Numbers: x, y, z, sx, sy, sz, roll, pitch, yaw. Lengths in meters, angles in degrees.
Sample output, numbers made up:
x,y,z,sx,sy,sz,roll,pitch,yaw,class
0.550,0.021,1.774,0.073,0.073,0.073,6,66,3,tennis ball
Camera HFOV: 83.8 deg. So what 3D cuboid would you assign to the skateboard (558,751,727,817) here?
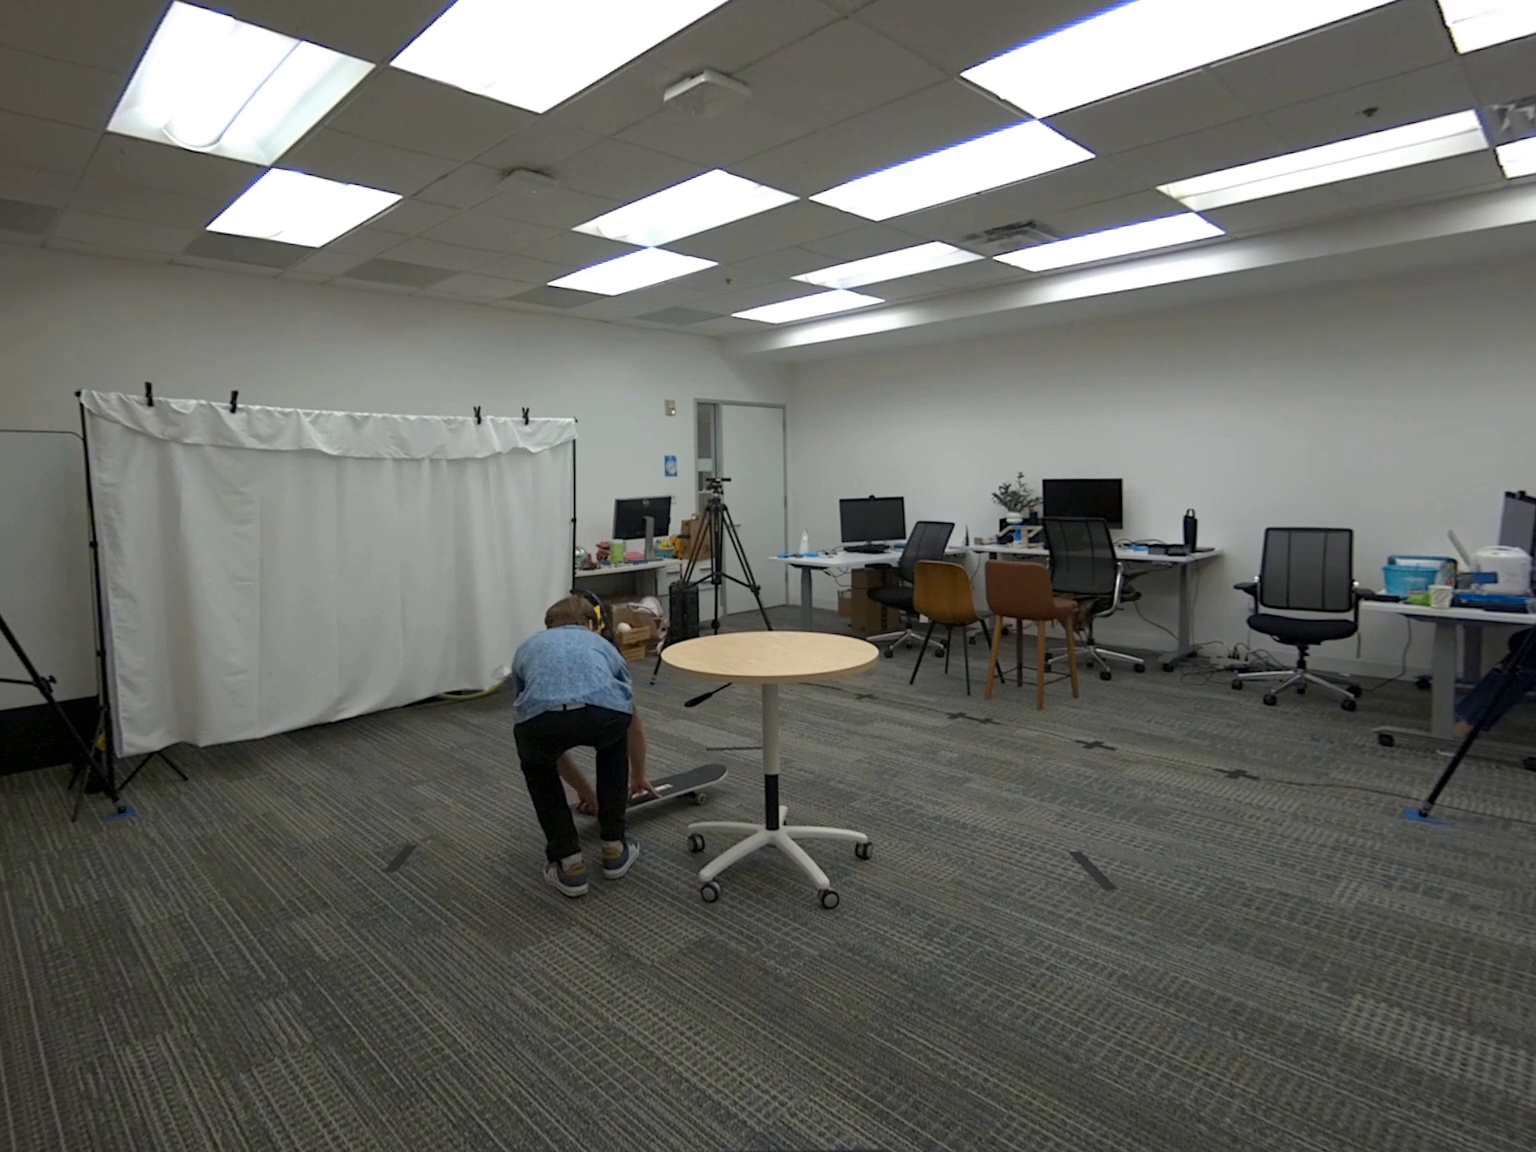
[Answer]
x,y,z,sx,sy,sz,roll,pitch,yaw,class
-0.492,0.939,3.602,0.765,0.110,0.199,-8,9,-41,skateboard
